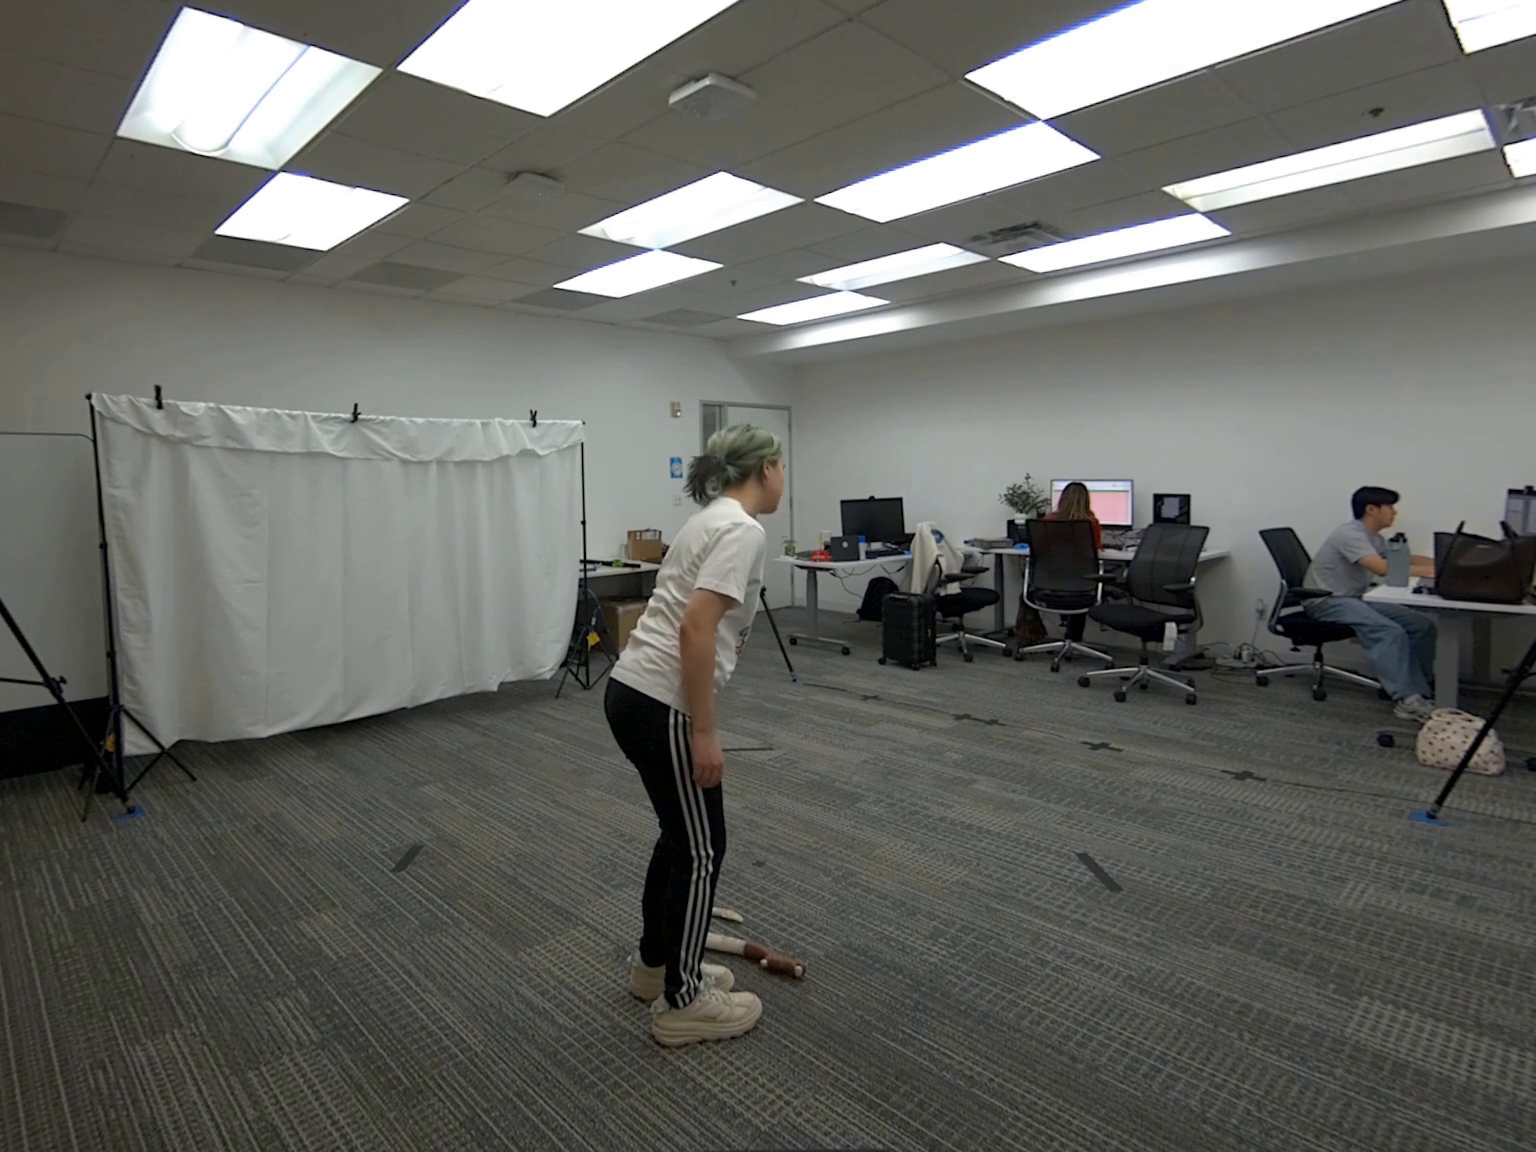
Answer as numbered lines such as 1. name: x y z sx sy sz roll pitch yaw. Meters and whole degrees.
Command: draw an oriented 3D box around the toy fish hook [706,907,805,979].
1. toy fish hook: -0.076 1.088 2.573 0.521 0.048 0.219 4 10 36
